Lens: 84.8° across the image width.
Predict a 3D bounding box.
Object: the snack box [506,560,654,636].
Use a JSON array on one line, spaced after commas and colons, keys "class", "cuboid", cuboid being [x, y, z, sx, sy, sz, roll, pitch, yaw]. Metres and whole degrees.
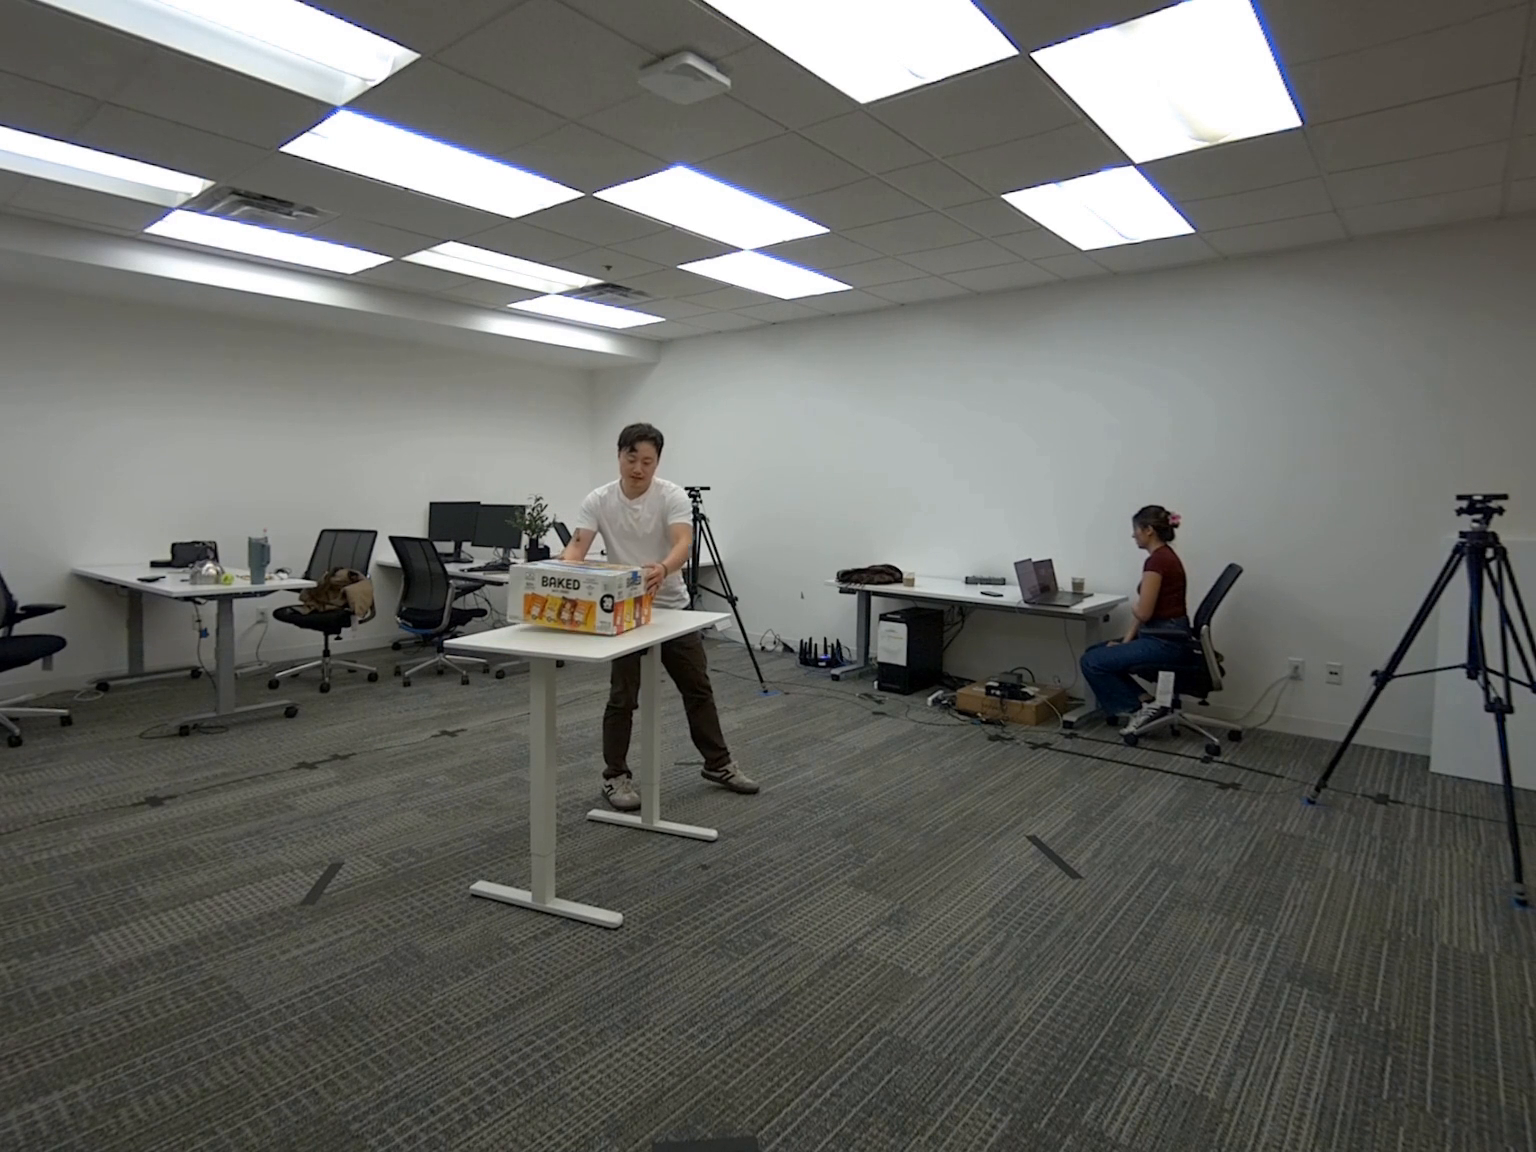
[{"class": "snack box", "cuboid": [-0.663, 0.054, 3.068, 0.413, 0.205, 0.335, 5, 4, 16]}]
